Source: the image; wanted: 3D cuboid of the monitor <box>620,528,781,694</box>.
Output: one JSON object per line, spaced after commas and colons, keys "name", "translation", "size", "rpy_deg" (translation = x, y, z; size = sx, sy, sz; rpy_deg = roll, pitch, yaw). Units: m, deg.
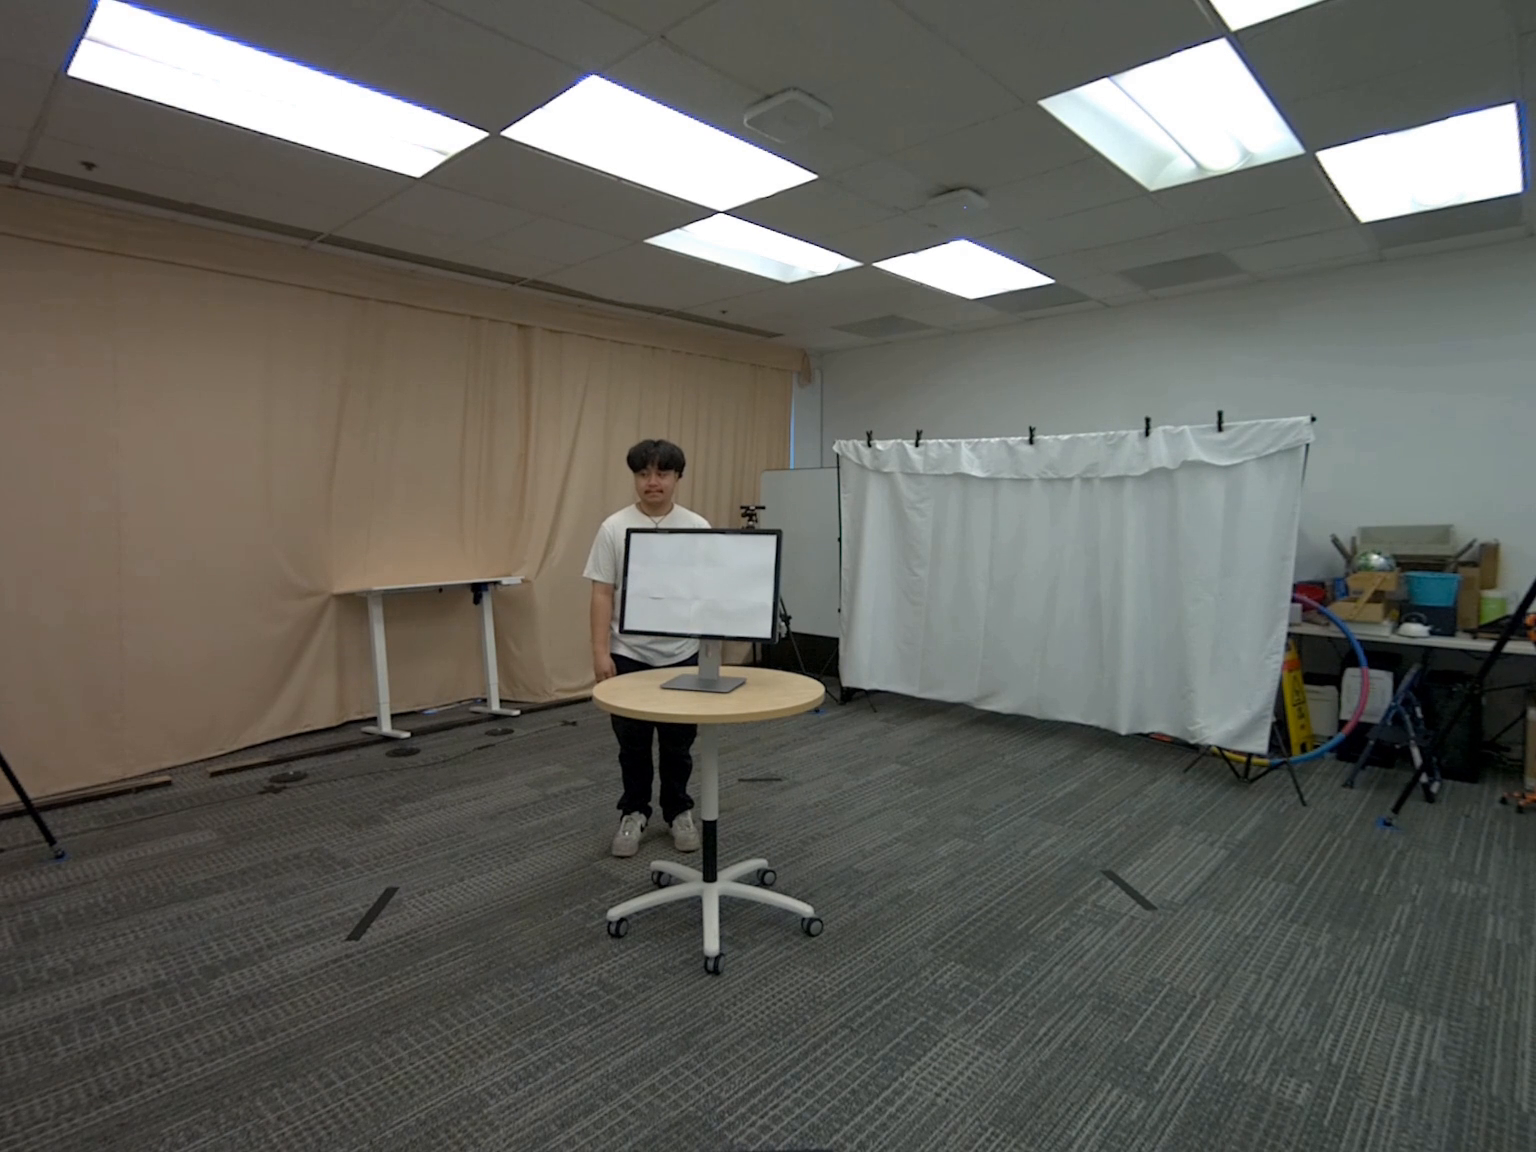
{"name": "monitor", "translation": [-0.204, 0.110, 2.838], "size": [0.578, 0.554, 0.205], "rpy_deg": [1, -1, 21]}
